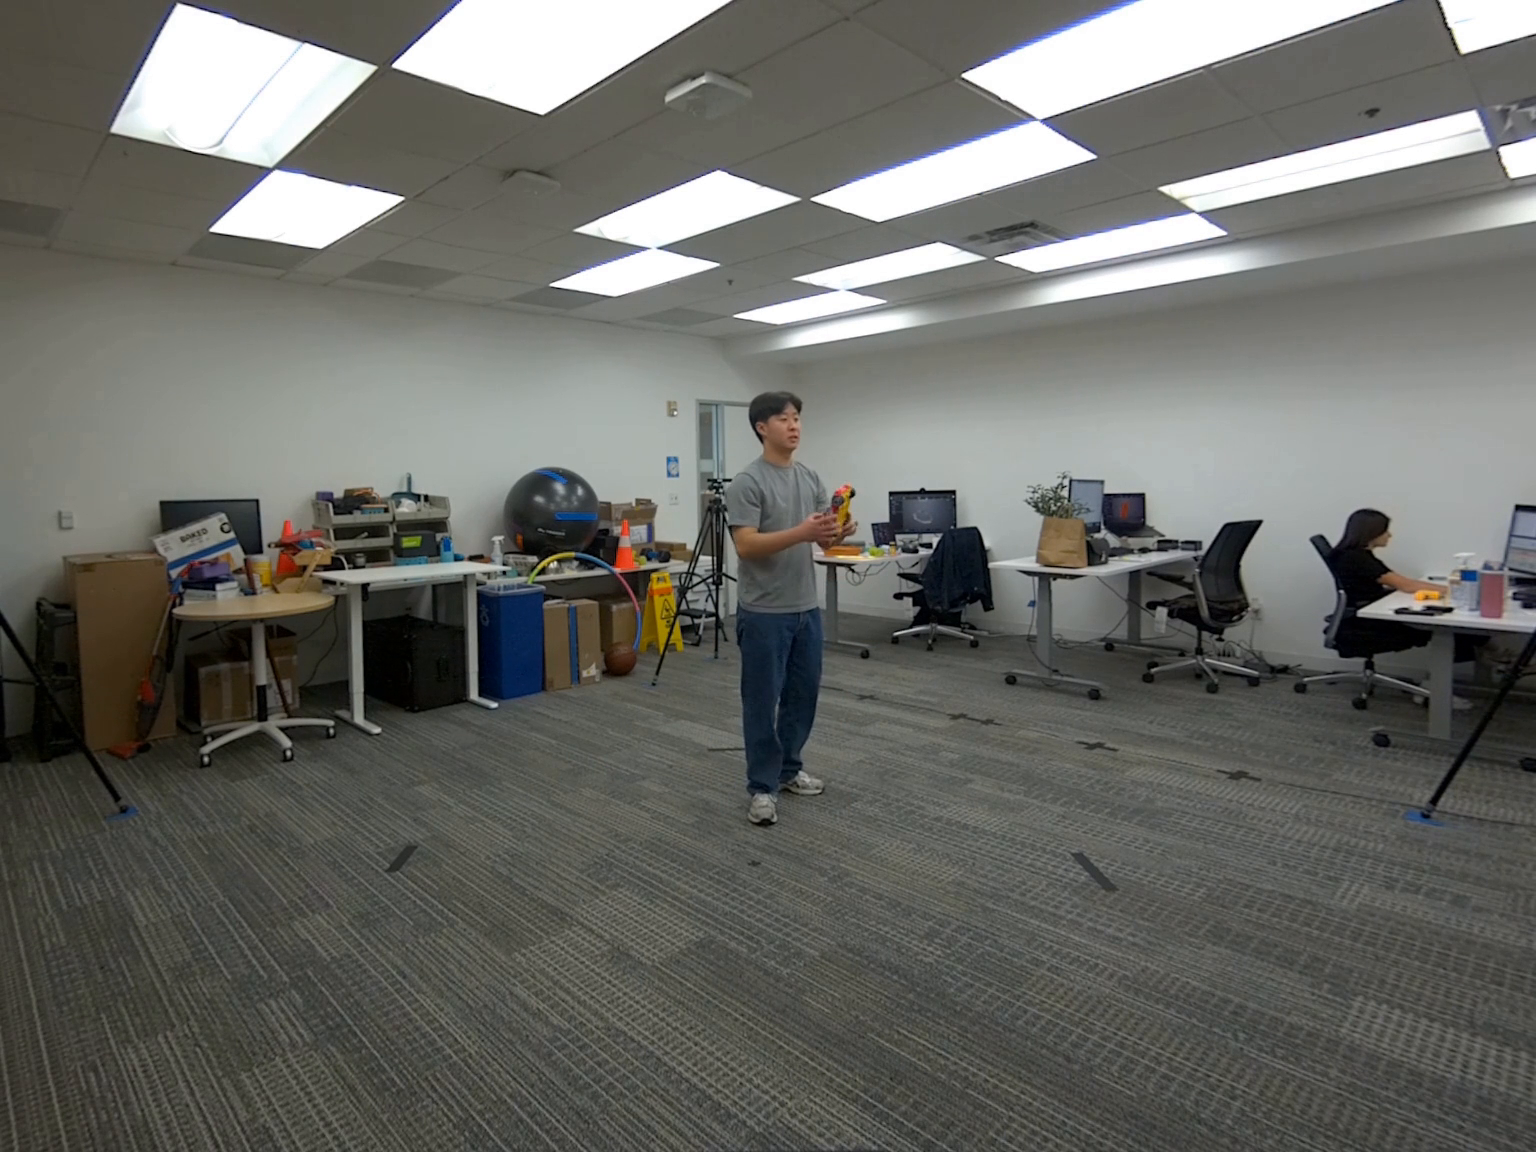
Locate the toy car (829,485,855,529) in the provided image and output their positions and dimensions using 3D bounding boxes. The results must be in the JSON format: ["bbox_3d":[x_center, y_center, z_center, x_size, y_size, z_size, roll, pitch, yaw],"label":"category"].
[{"bbox_3d":[0.268,-0.225,3.318,0.085,0.250,0.129,35,40,19],"label":"toy car"}]
